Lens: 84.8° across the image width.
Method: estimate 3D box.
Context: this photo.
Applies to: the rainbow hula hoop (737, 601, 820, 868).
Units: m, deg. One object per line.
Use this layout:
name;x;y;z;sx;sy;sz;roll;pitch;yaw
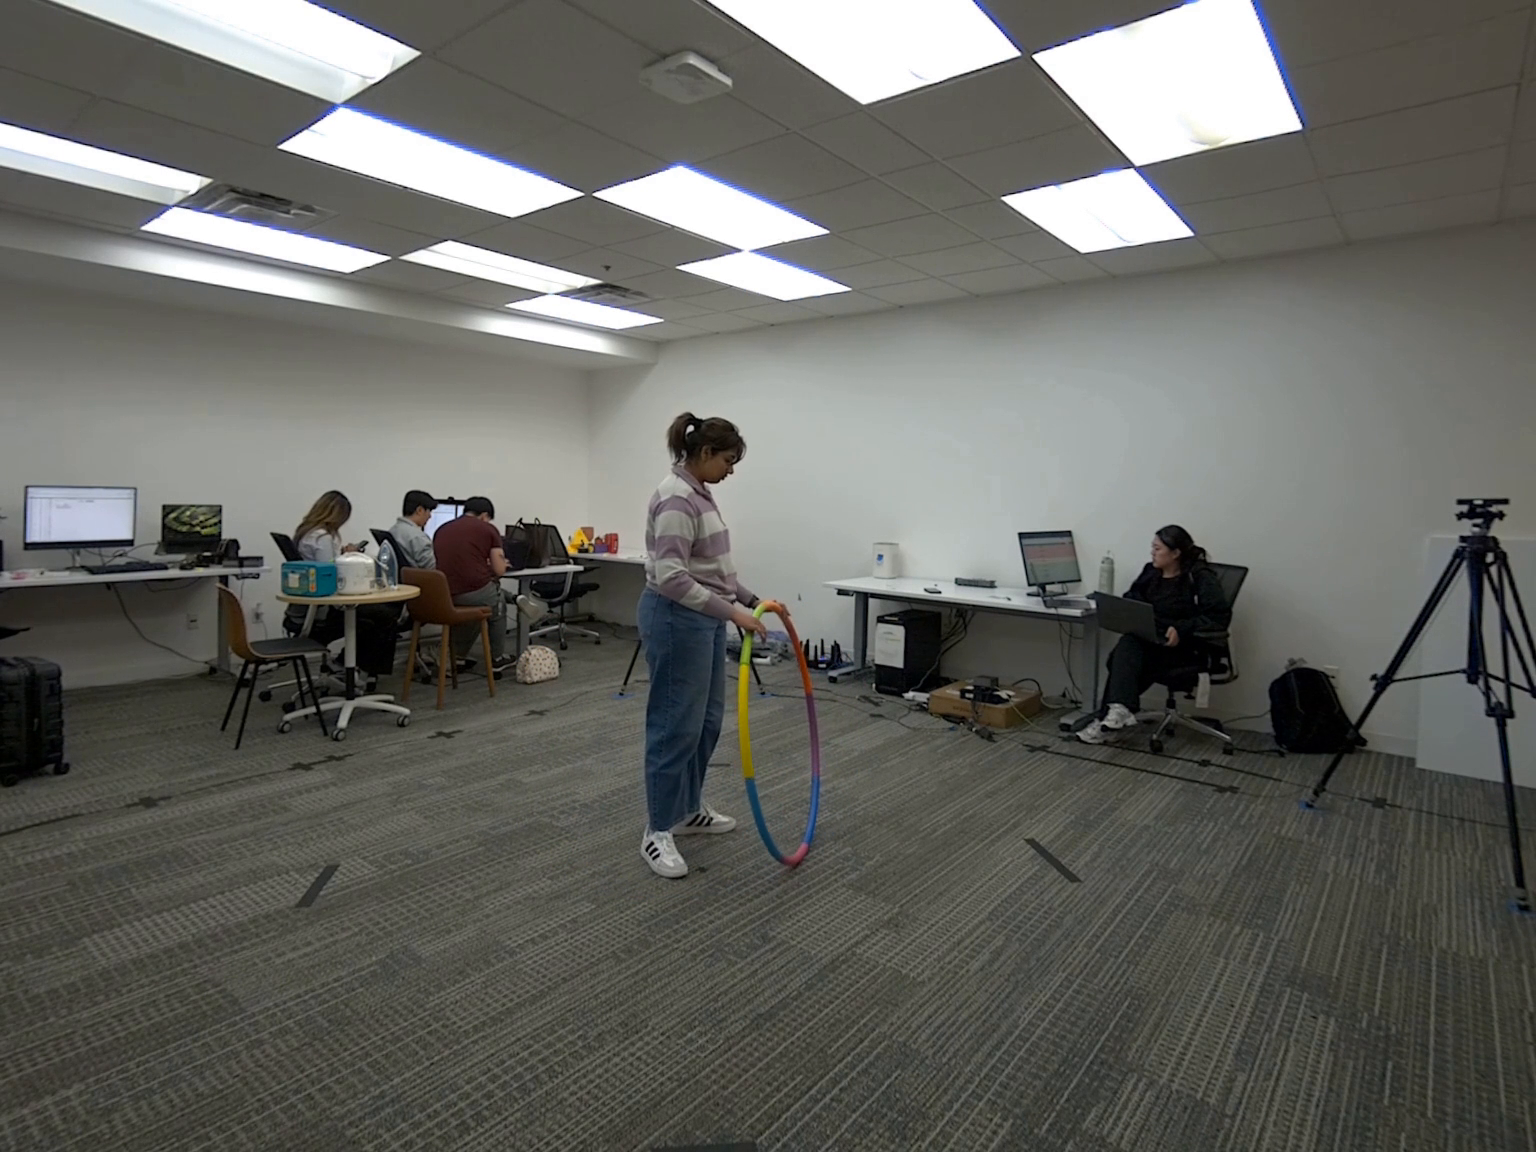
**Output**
rainbow hula hoop;0.044;0.580;3.258;0.052;0.986;0.970;-10;1;16
